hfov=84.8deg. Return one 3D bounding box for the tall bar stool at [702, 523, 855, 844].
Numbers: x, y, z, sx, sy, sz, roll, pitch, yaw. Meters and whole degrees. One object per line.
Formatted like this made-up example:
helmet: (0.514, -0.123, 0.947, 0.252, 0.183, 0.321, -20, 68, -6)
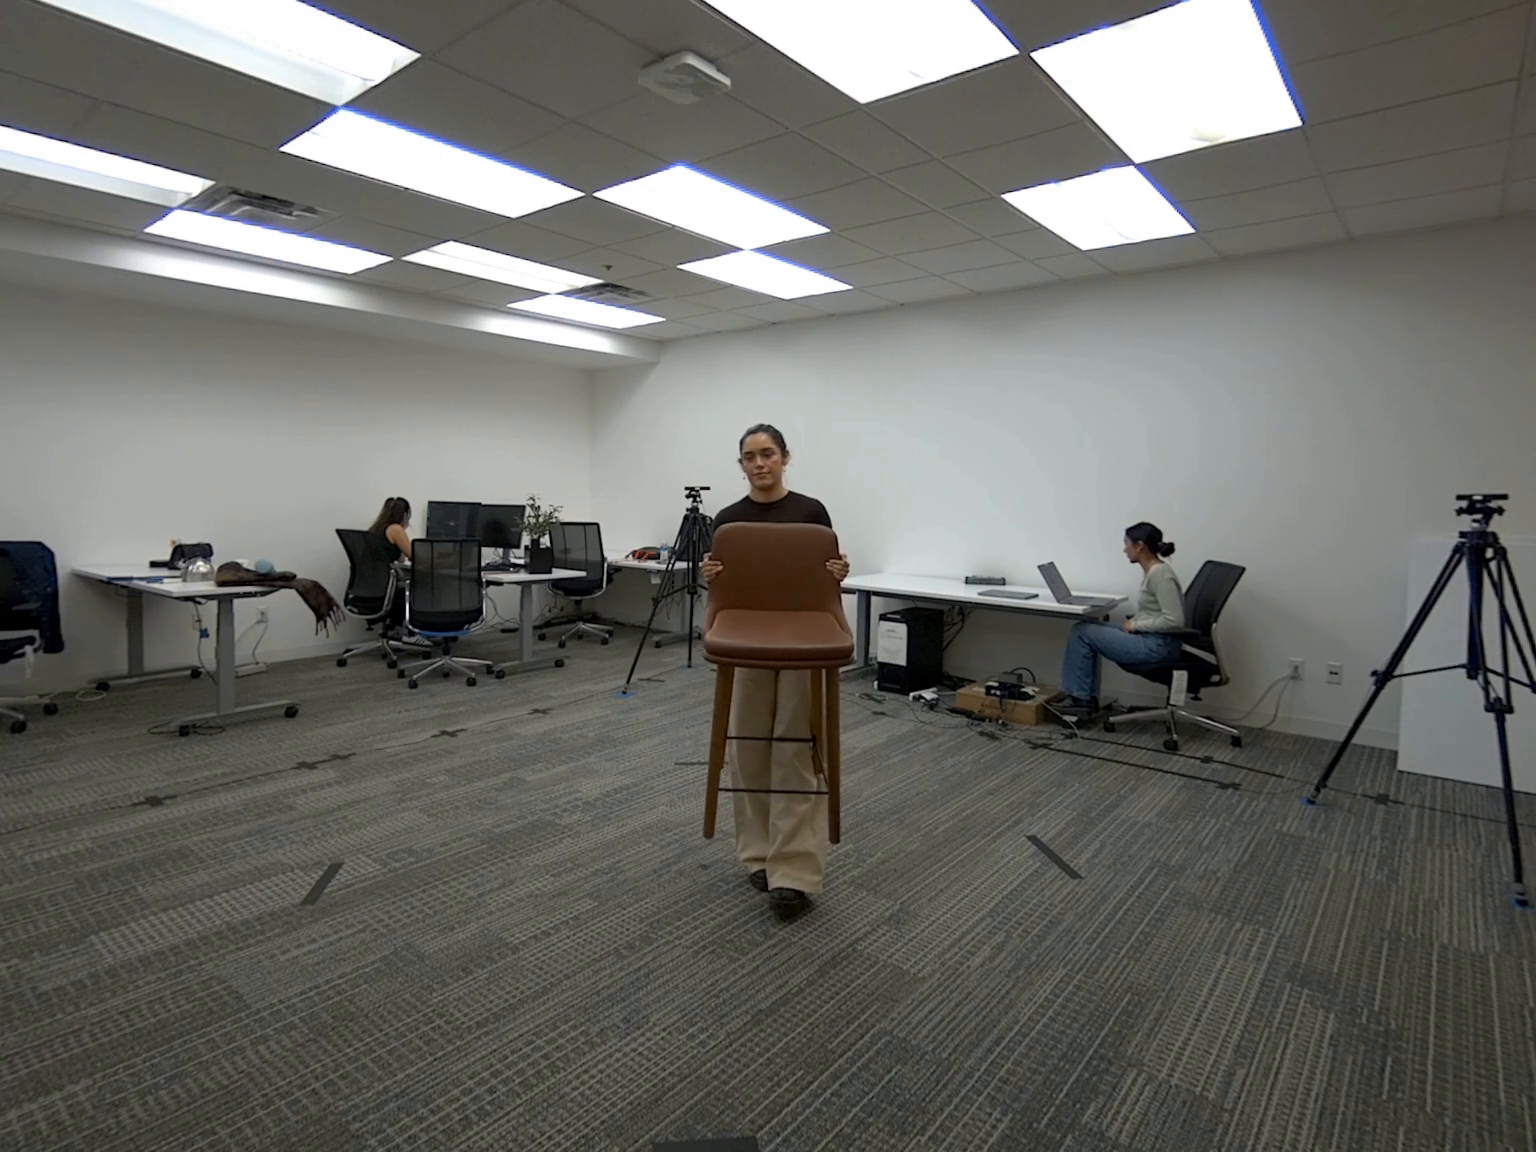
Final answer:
tall bar stool: (0.023, 0.317, 2.654, 0.457, 0.881, 0.472, 3, 11, 0)
